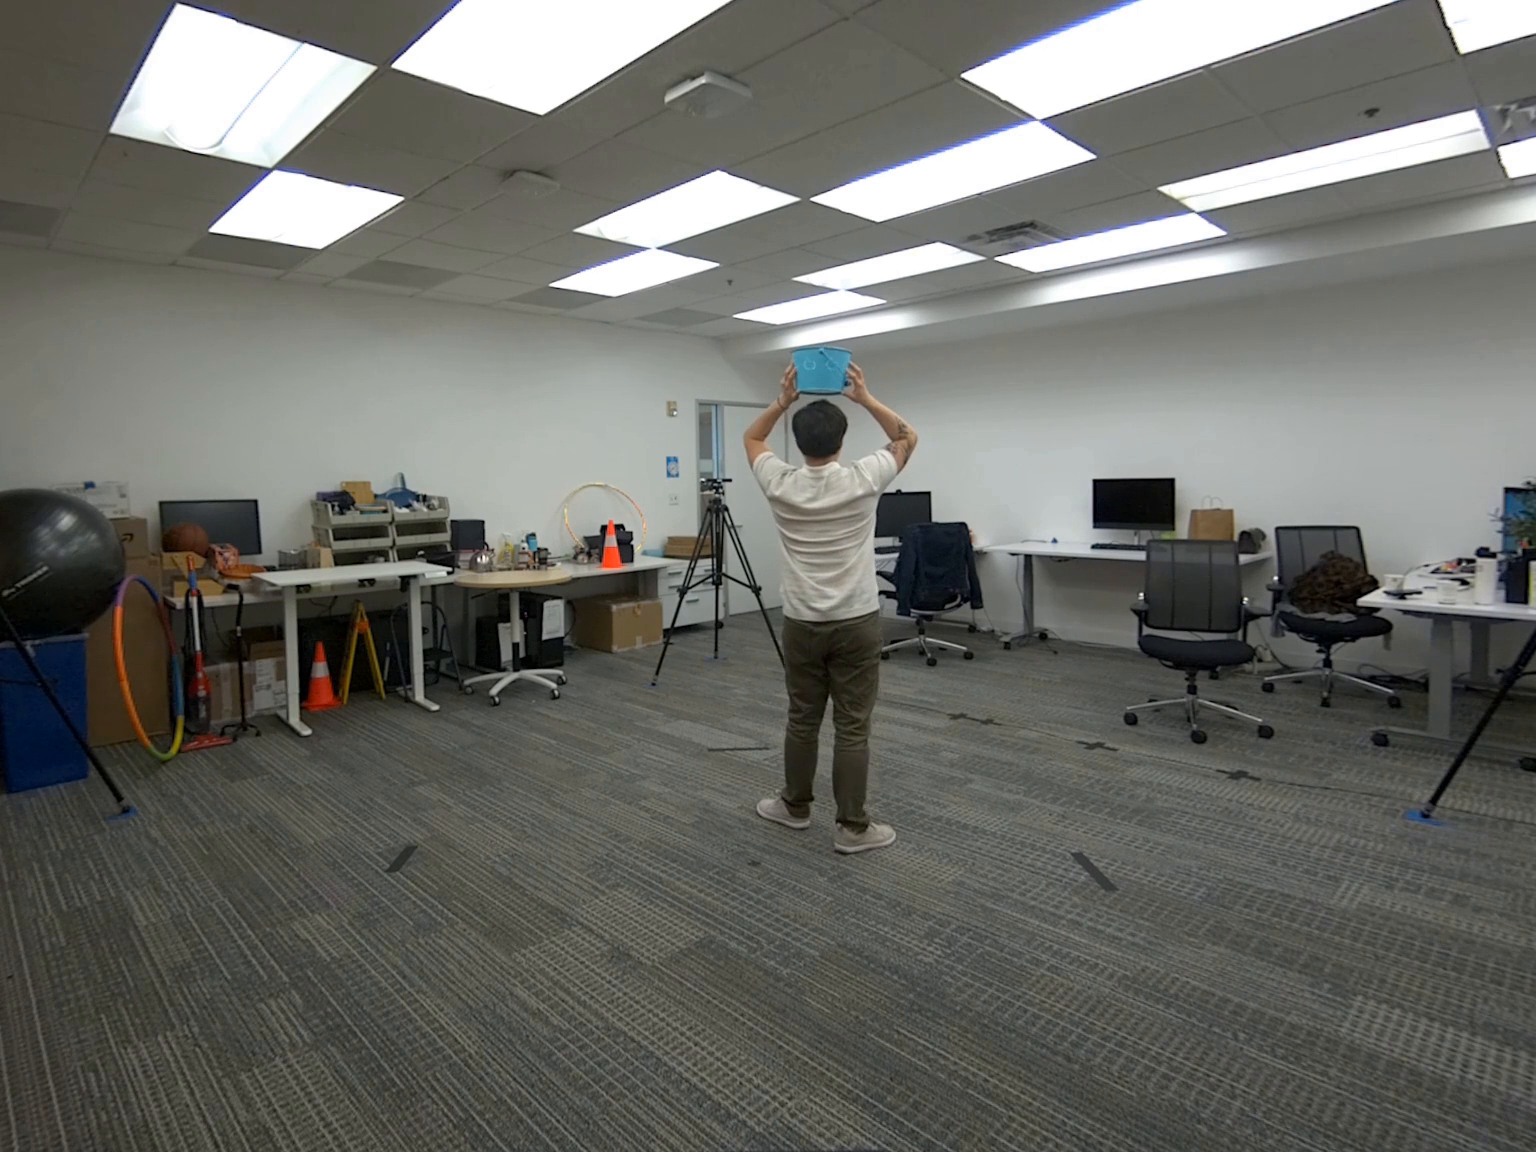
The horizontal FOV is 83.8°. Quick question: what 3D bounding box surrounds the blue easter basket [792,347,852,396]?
[{"bbox_3d":[0.195,-0.775,3.240,0.243,0.156,0.244,0,2,-2],"label":"blue easter basket"}]
